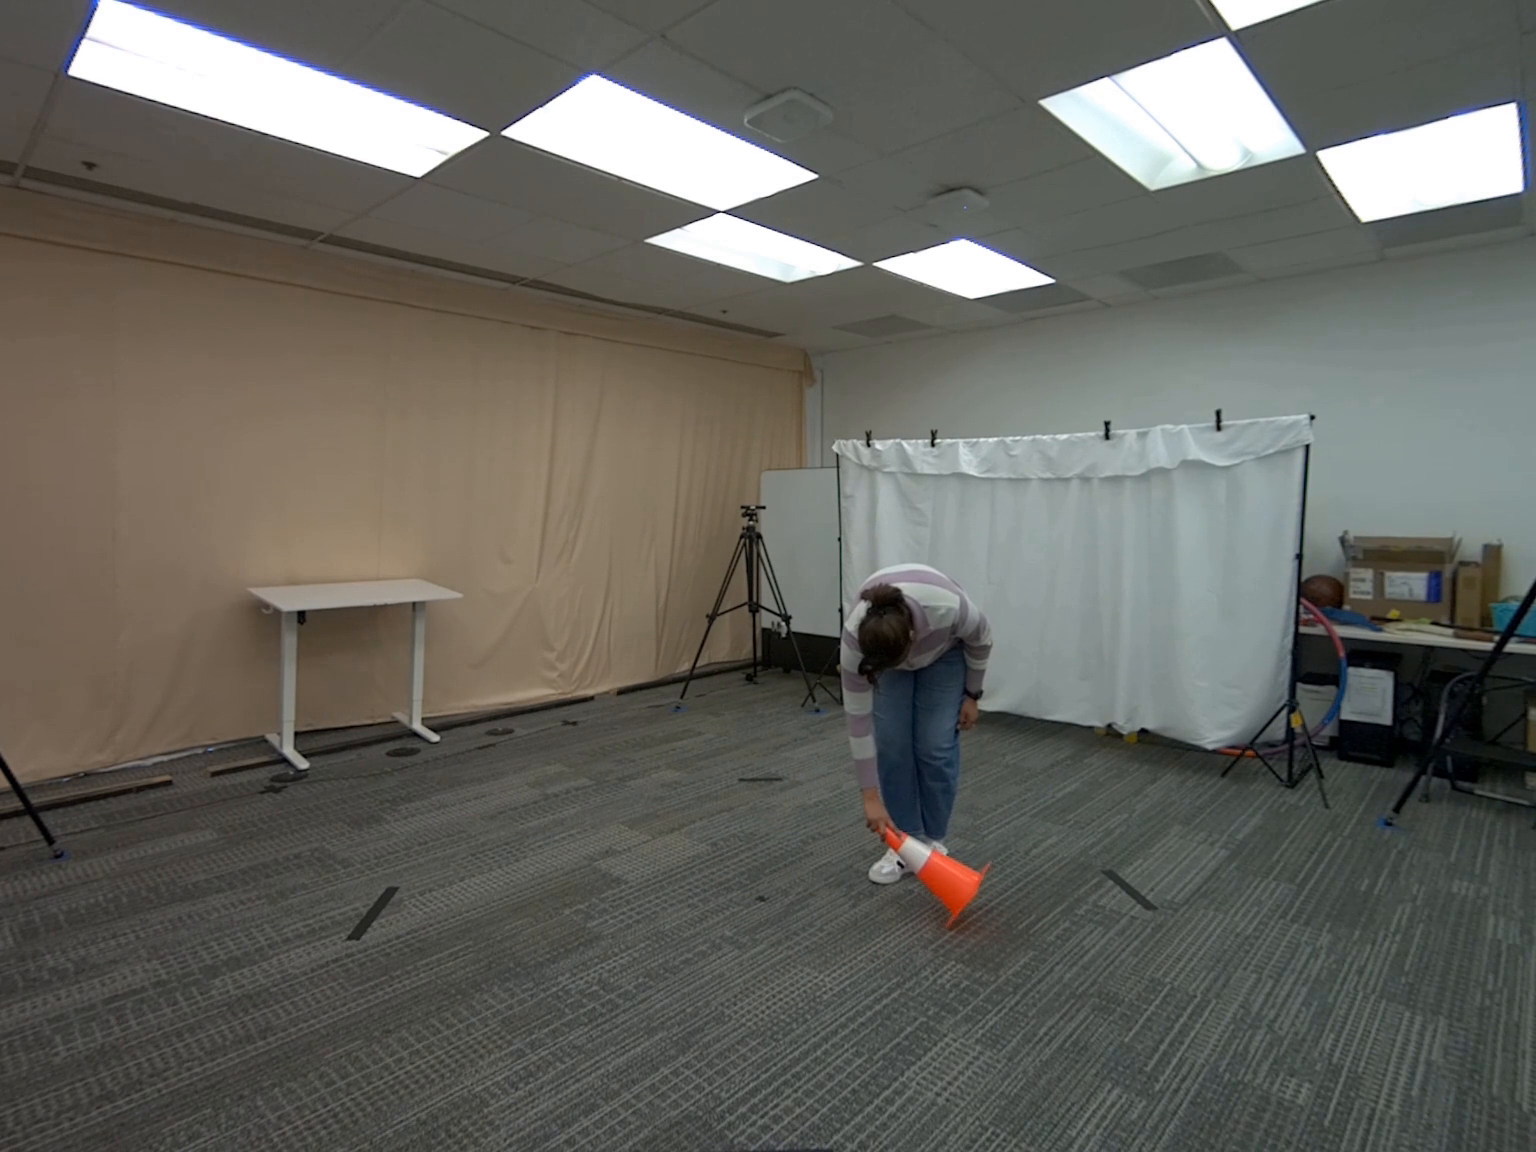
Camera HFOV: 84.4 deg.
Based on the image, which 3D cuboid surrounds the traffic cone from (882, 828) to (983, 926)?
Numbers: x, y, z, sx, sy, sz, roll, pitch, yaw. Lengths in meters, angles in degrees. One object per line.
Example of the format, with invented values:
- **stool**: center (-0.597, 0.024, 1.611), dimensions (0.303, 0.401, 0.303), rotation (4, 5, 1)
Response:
- **traffic cone**: center (0.511, 0.944, 2.850), dimensions (0.393, 0.204, 0.199), rotation (36, 32, 19)
